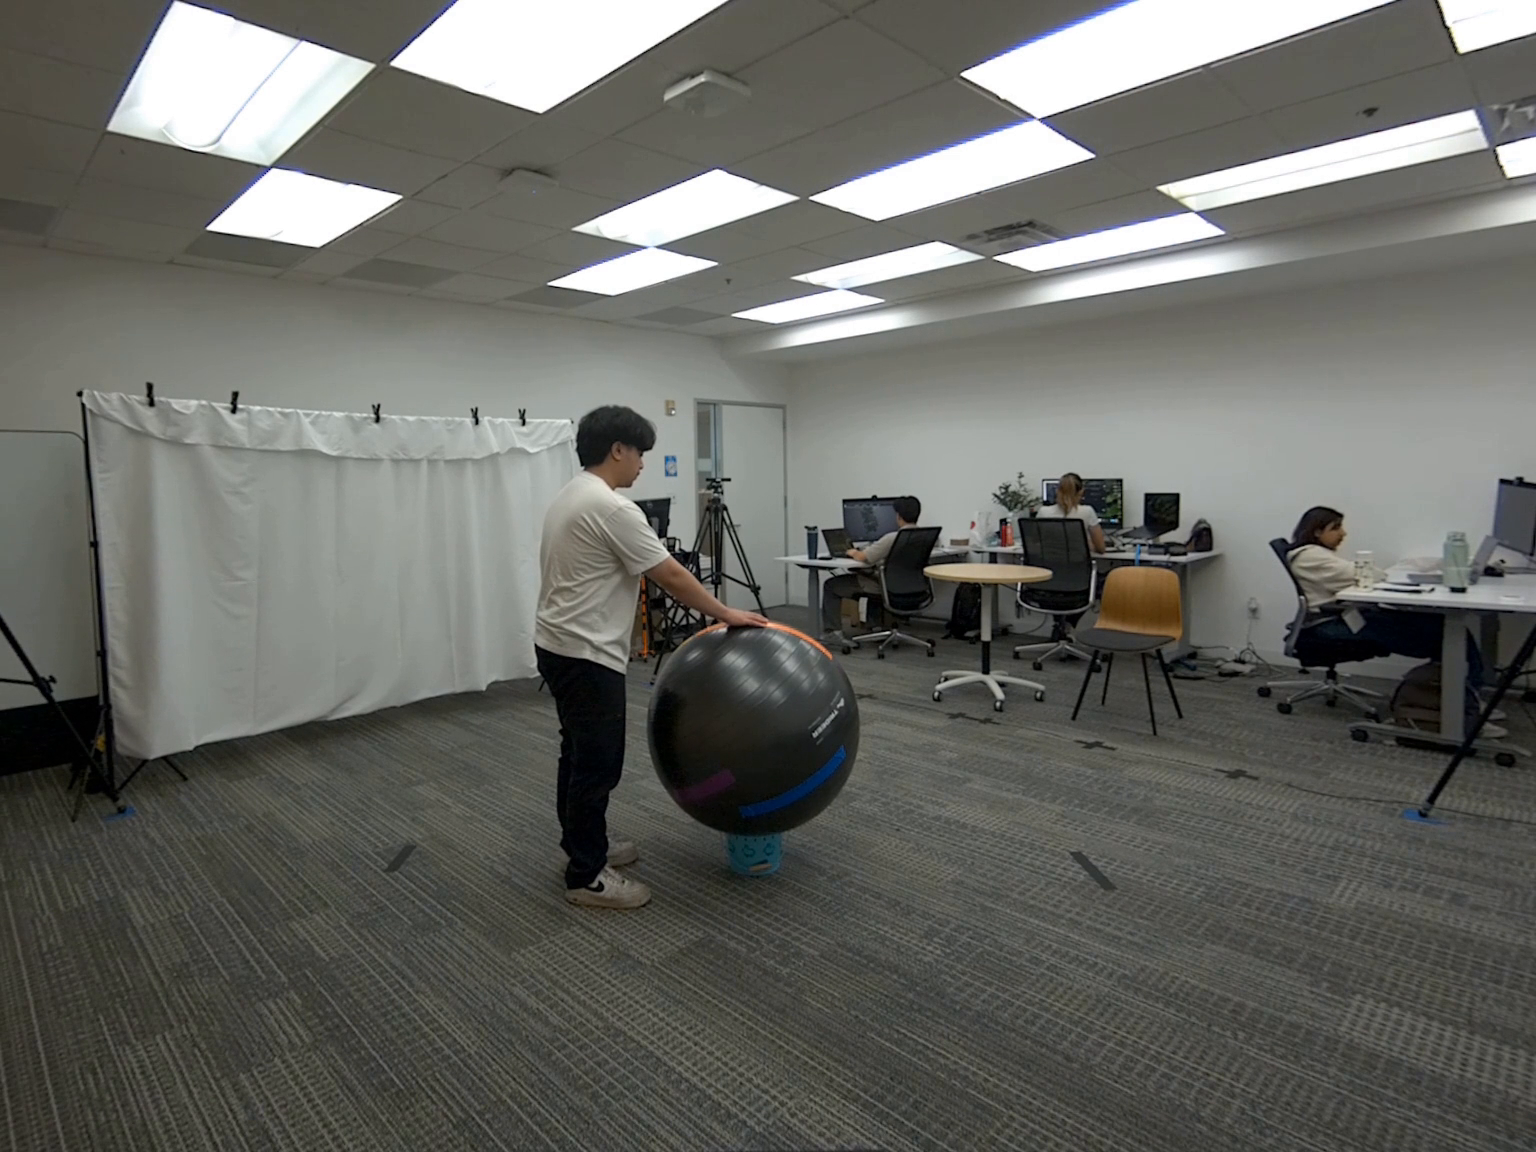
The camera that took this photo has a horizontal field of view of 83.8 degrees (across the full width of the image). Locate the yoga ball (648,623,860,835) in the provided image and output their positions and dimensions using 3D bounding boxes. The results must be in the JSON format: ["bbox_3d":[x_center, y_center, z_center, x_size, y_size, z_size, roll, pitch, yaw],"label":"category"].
[{"bbox_3d":[-0.051,0.540,3.059,0.757,0.755,0.762,-1,5,-2],"label":"yoga ball"}]
